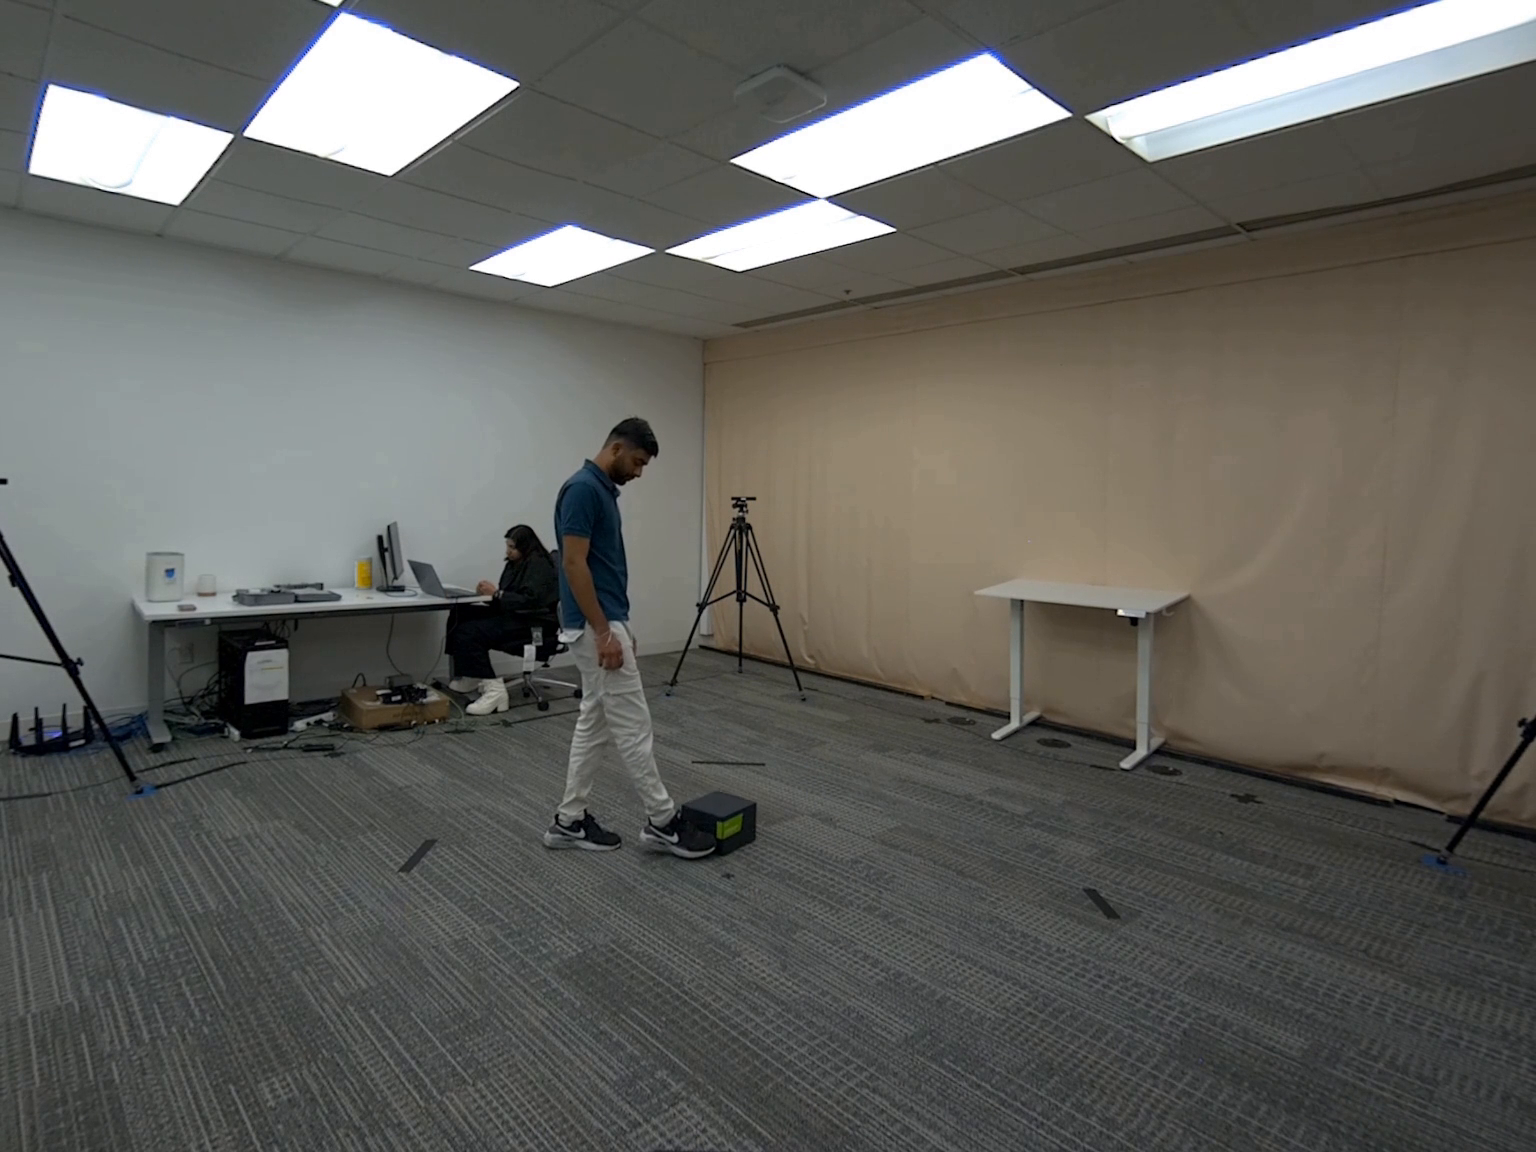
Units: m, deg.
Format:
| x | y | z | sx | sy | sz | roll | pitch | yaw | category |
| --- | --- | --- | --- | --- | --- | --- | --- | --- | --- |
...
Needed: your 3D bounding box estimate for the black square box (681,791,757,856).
| x | y | z | sx | sy | sz | roll | pitch | yaw | category |
| --- | --- | --- | --- | --- | --- | --- | --- | --- | --- |
| -0.211 | 0.993 | 3.402 | 0.222 | 0.155 | 0.223 | 5 | 5 | 36 | black square box |
